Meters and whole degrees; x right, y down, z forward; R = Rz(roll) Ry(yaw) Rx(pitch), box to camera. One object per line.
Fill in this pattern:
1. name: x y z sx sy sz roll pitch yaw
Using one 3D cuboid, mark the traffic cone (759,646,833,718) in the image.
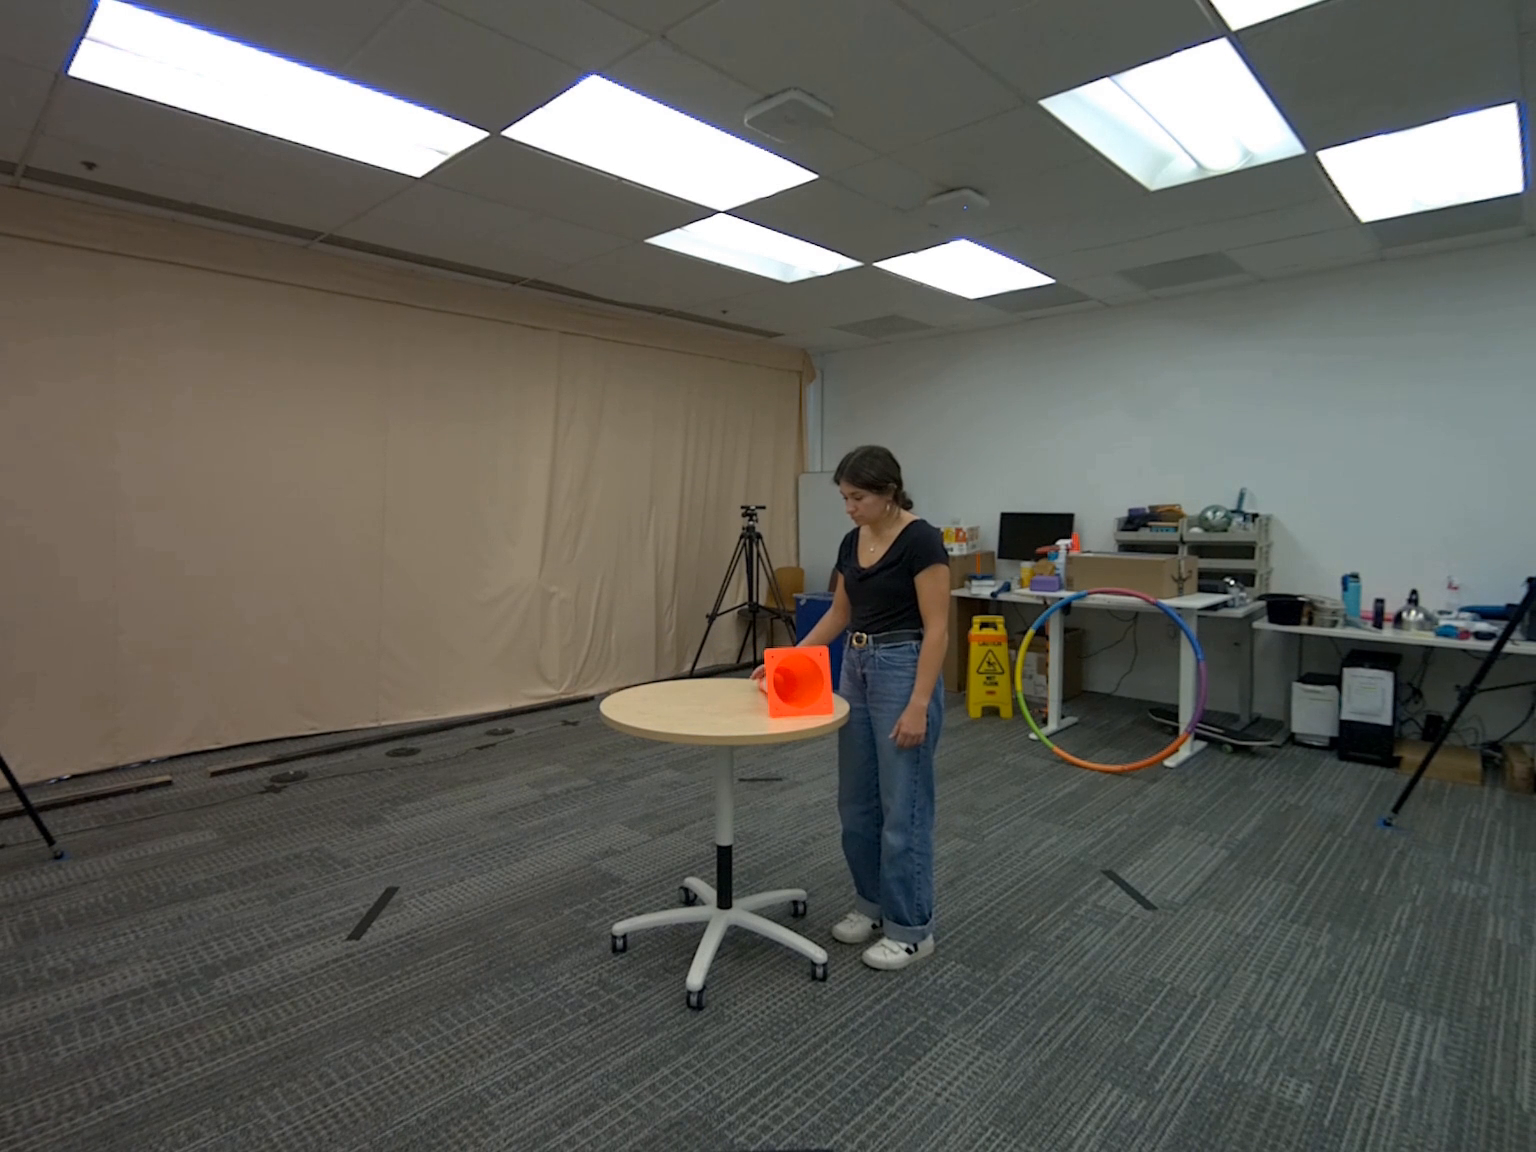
1. traffic cone: 0.049 0.338 2.631 0.200 0.206 0.388 -3 -7 -18
